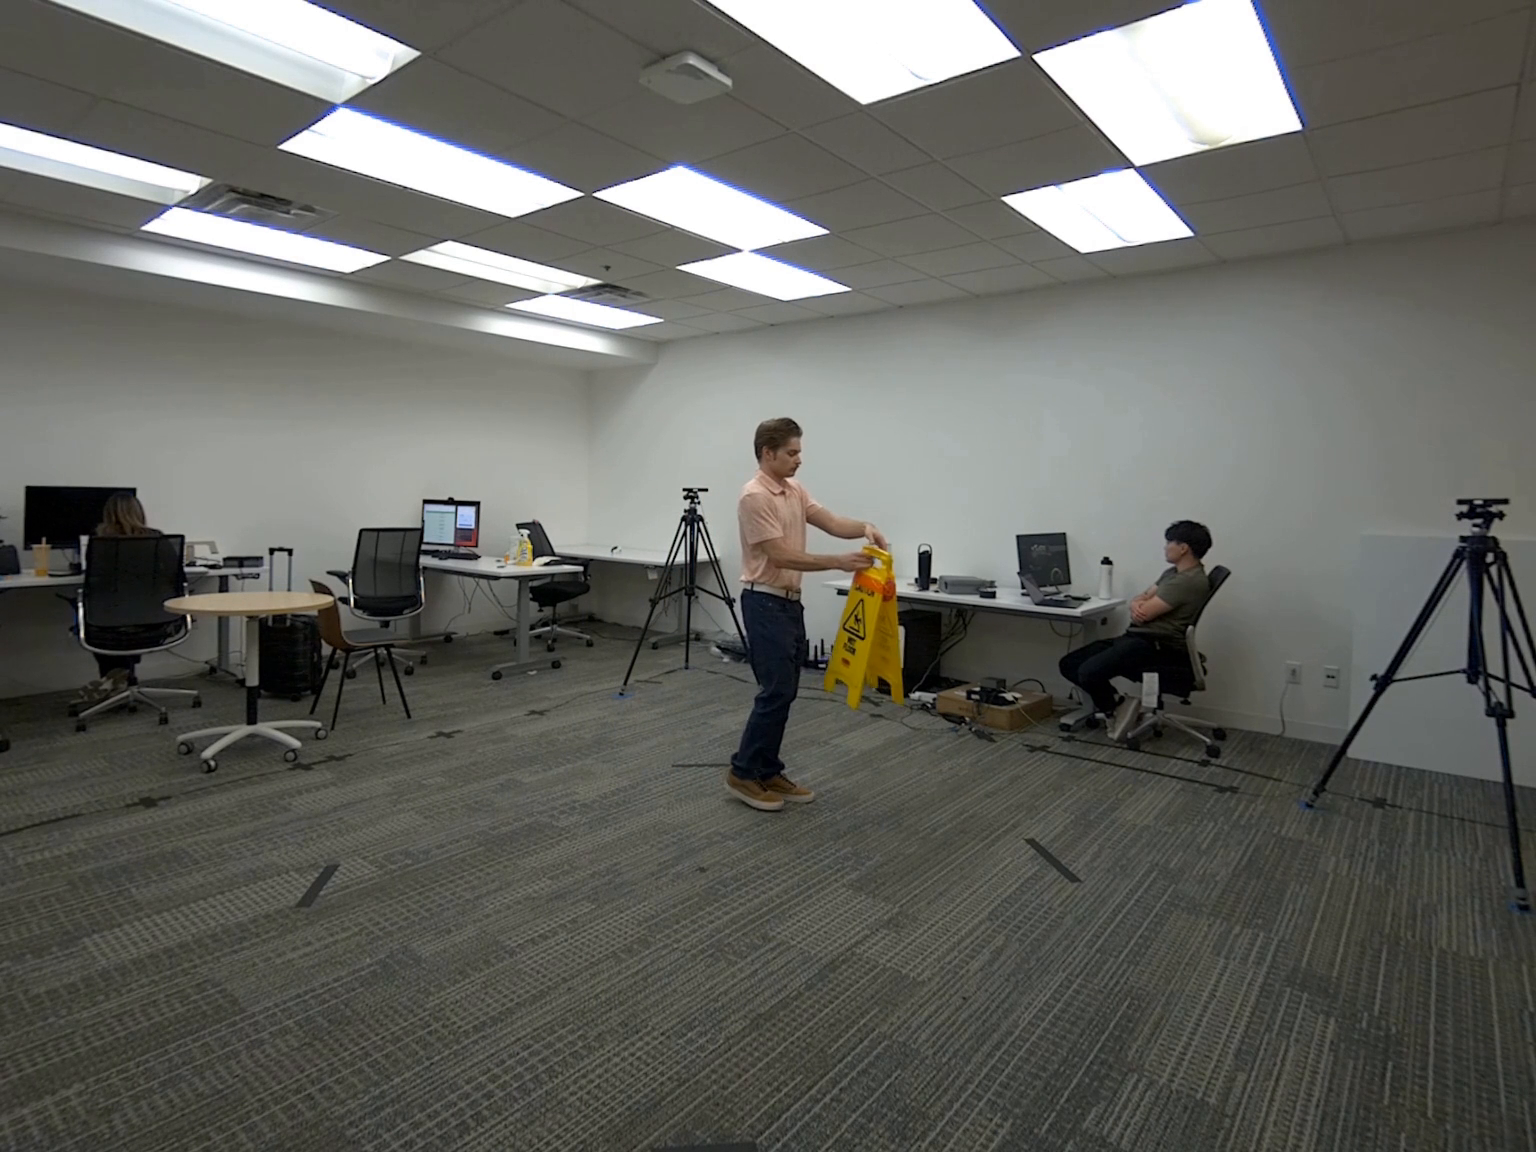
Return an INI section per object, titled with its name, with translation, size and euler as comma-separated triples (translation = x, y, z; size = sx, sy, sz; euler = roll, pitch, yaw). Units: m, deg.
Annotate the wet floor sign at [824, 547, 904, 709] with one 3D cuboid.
[wet floor sign]
translation = 0.428, 0.204, 3.629
size = 0.283, 0.641, 0.291
euler = -1, 10, -25
